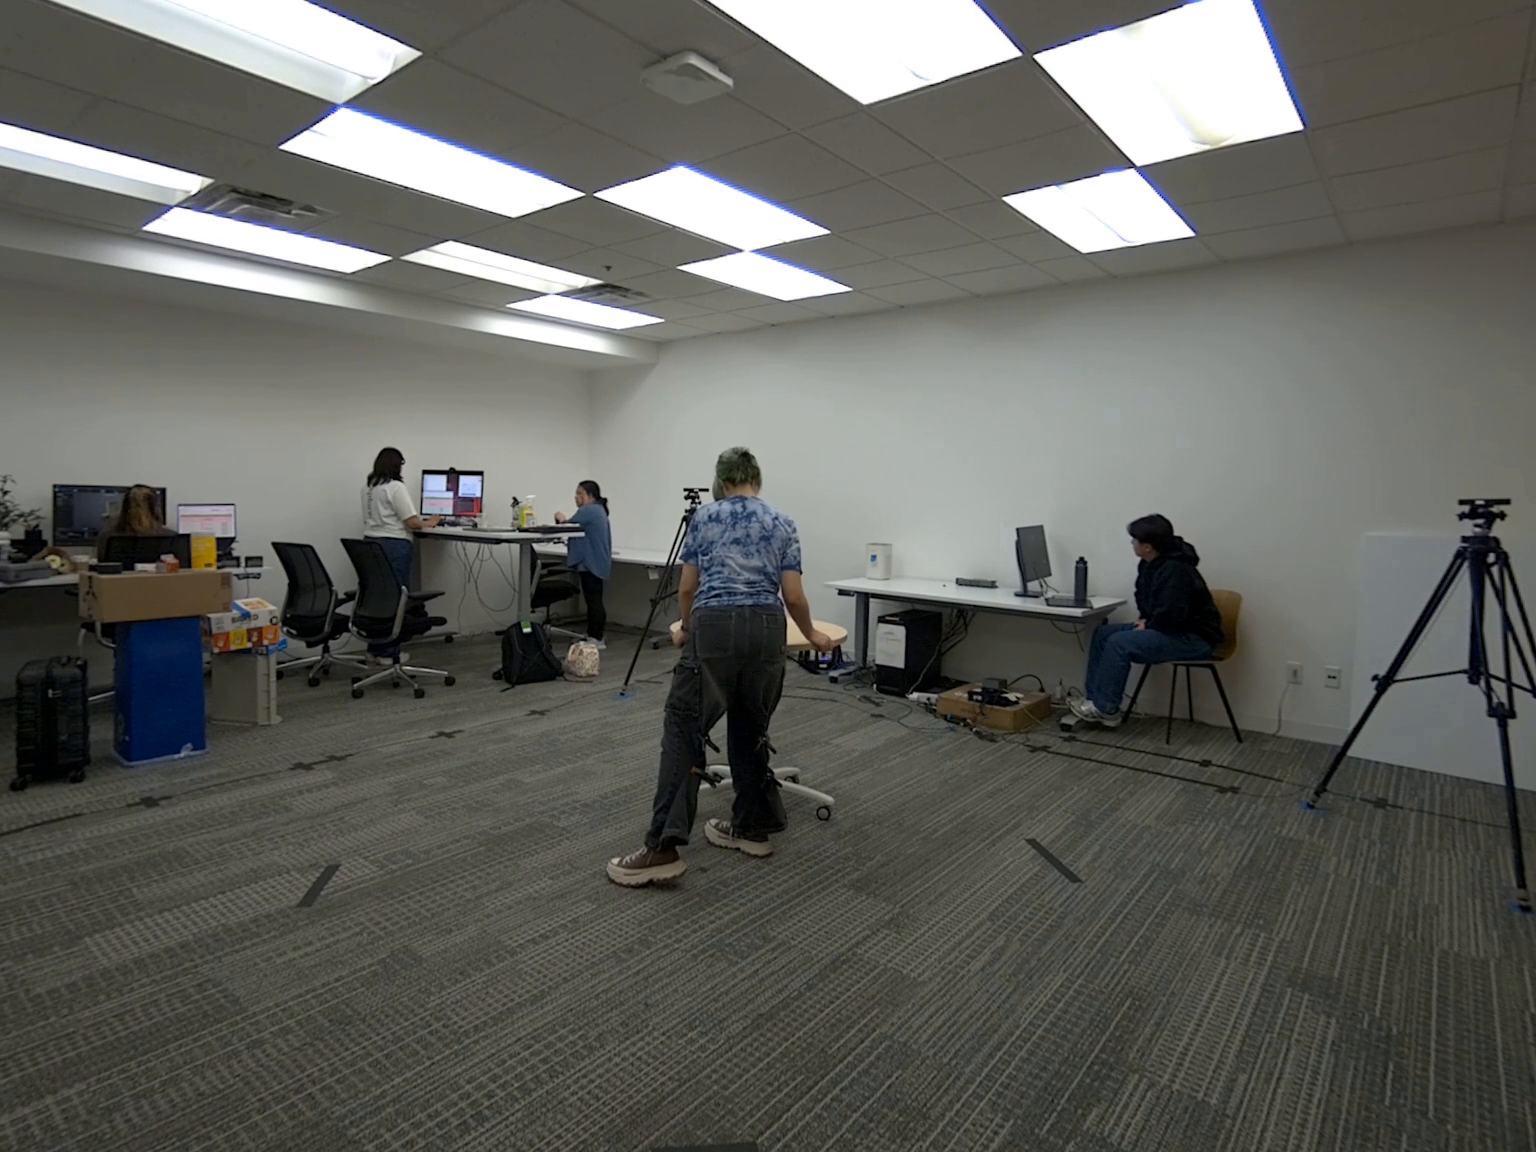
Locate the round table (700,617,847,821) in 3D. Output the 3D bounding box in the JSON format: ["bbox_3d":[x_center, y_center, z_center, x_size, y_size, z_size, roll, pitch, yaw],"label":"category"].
[{"bbox_3d":[-0.054,0.621,3.711,0.763,0.791,0.768,1,4,-2],"label":"round table"}]
